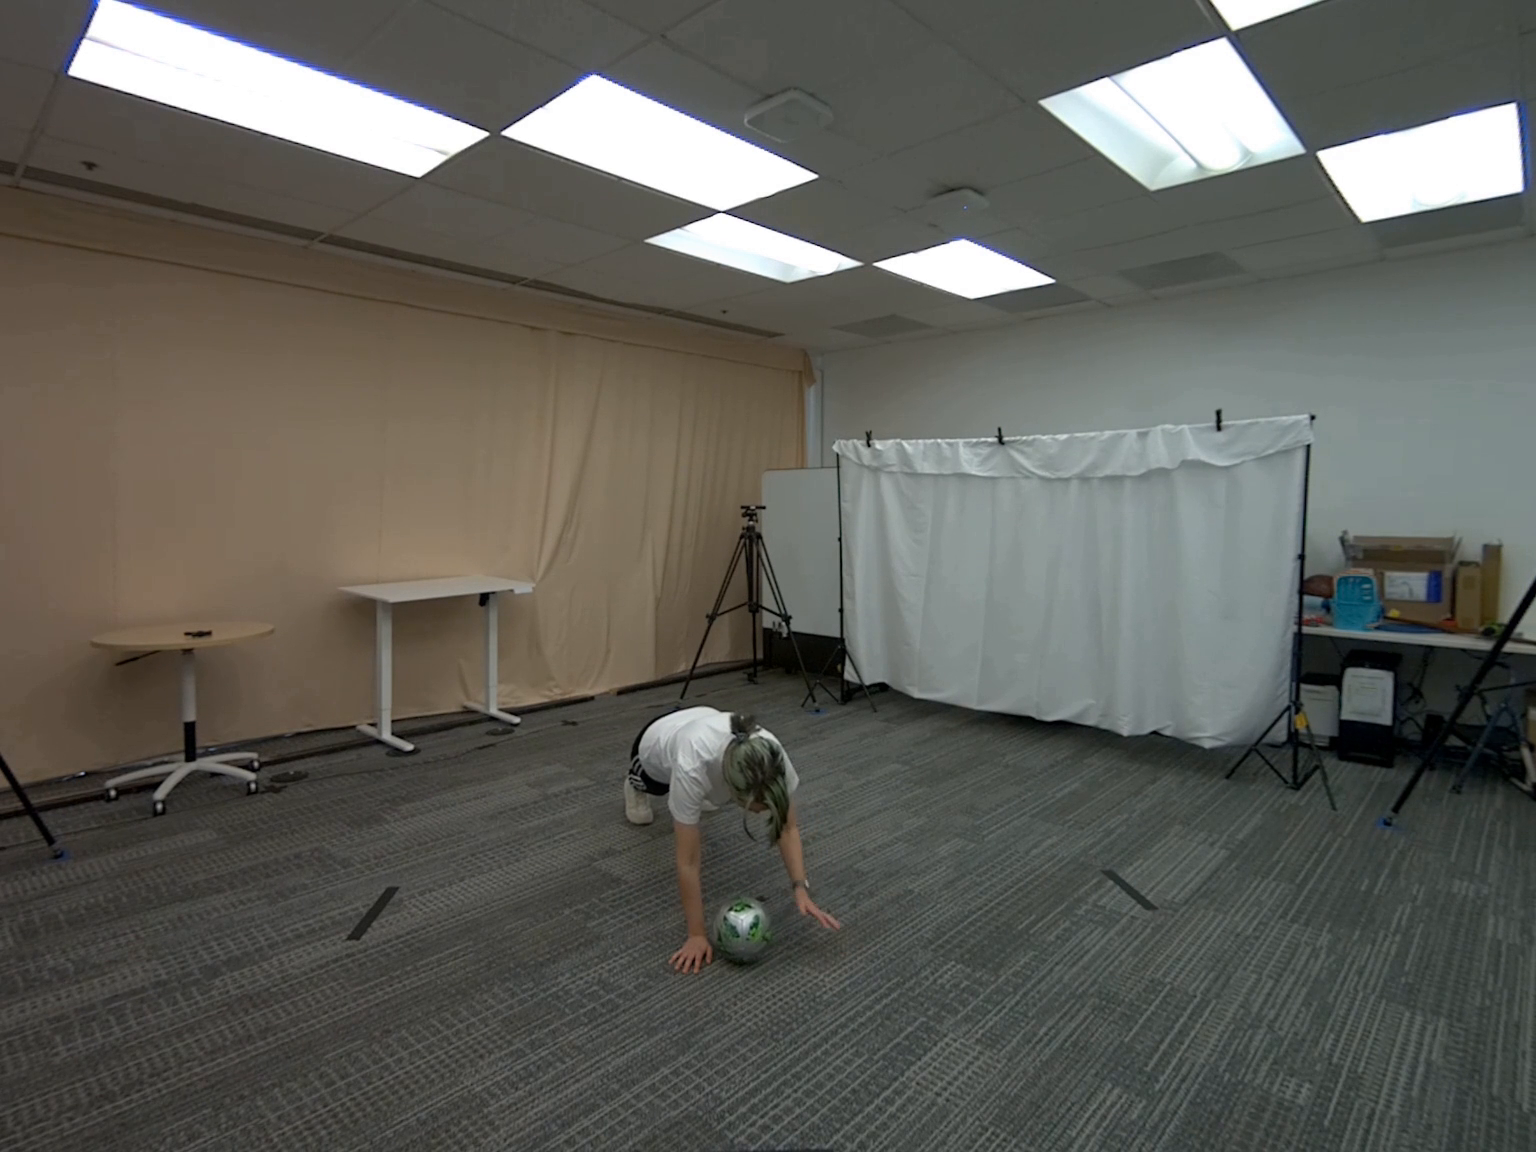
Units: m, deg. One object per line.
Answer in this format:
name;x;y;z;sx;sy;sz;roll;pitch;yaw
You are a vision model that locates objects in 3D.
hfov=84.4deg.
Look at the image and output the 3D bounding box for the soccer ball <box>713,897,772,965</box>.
soccer ball;-0.077;1.083;2.584;0.187;0.187;0.188;0;4;-2
